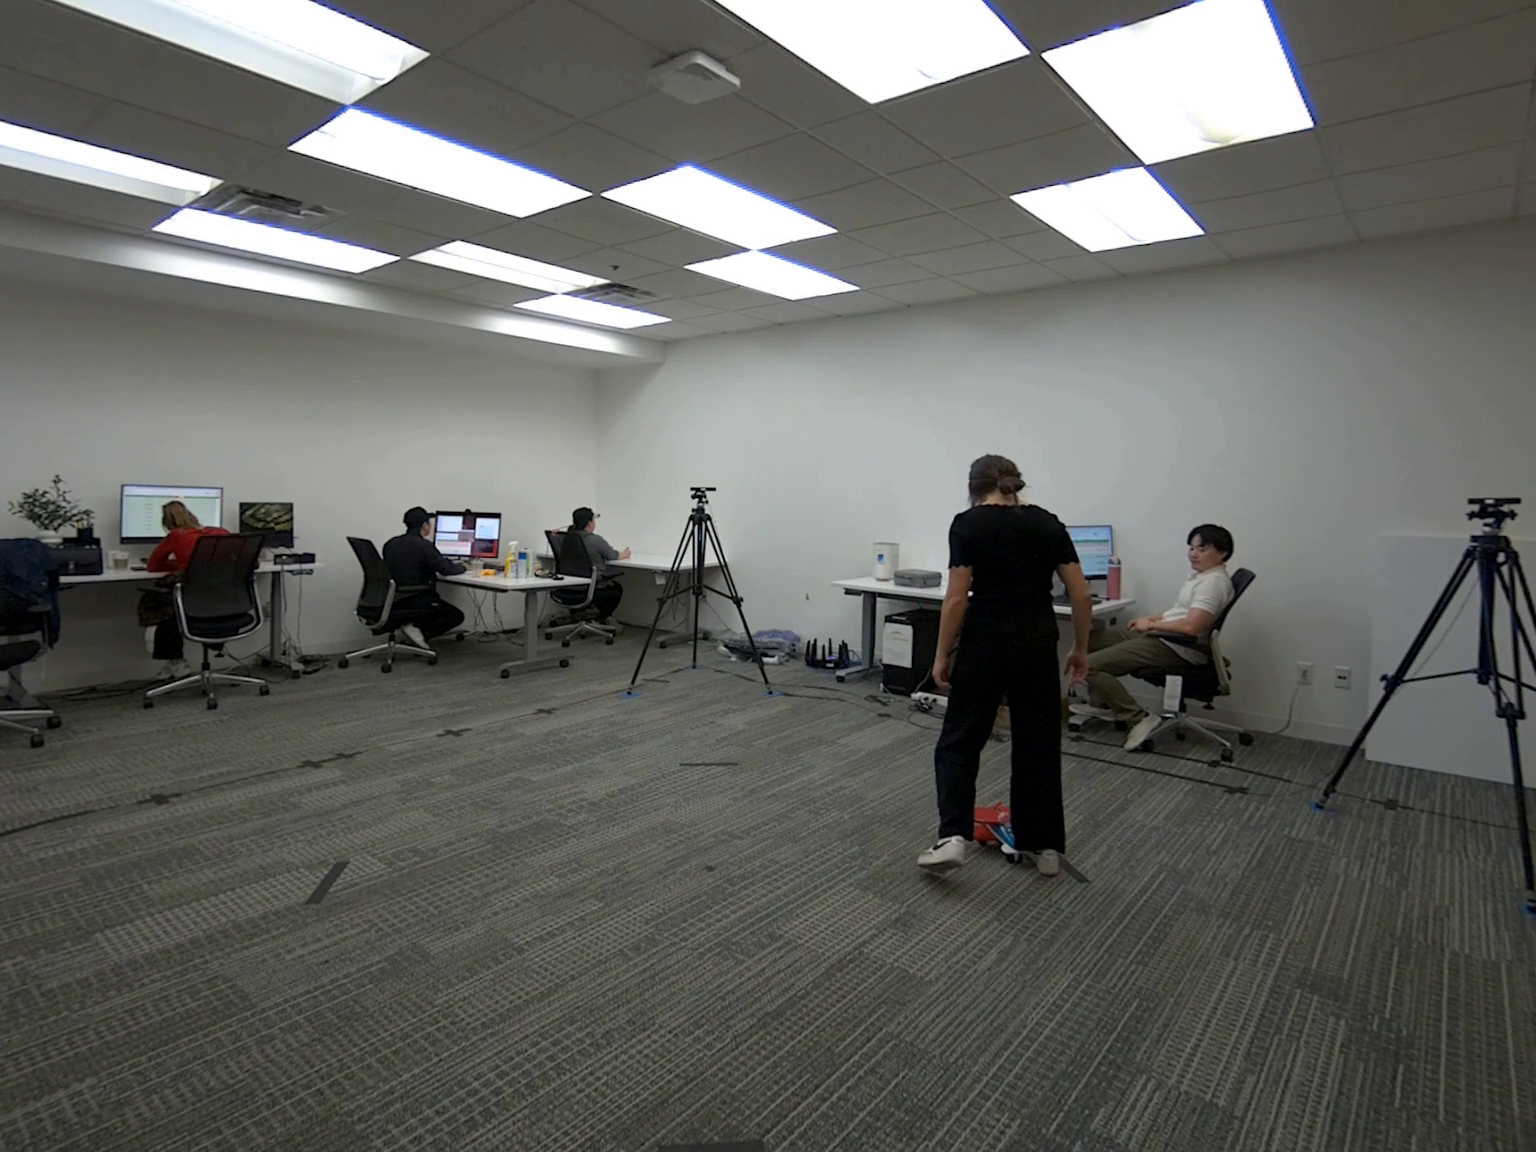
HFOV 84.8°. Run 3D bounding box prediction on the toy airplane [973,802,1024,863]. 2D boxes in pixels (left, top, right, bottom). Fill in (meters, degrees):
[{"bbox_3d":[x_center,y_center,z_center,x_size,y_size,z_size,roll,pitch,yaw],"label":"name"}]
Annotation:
[{"bbox_3d":[0.924,0.994,3.322,0.243,0.156,0.268,-3,6,-41],"label":"toy airplane"}]
